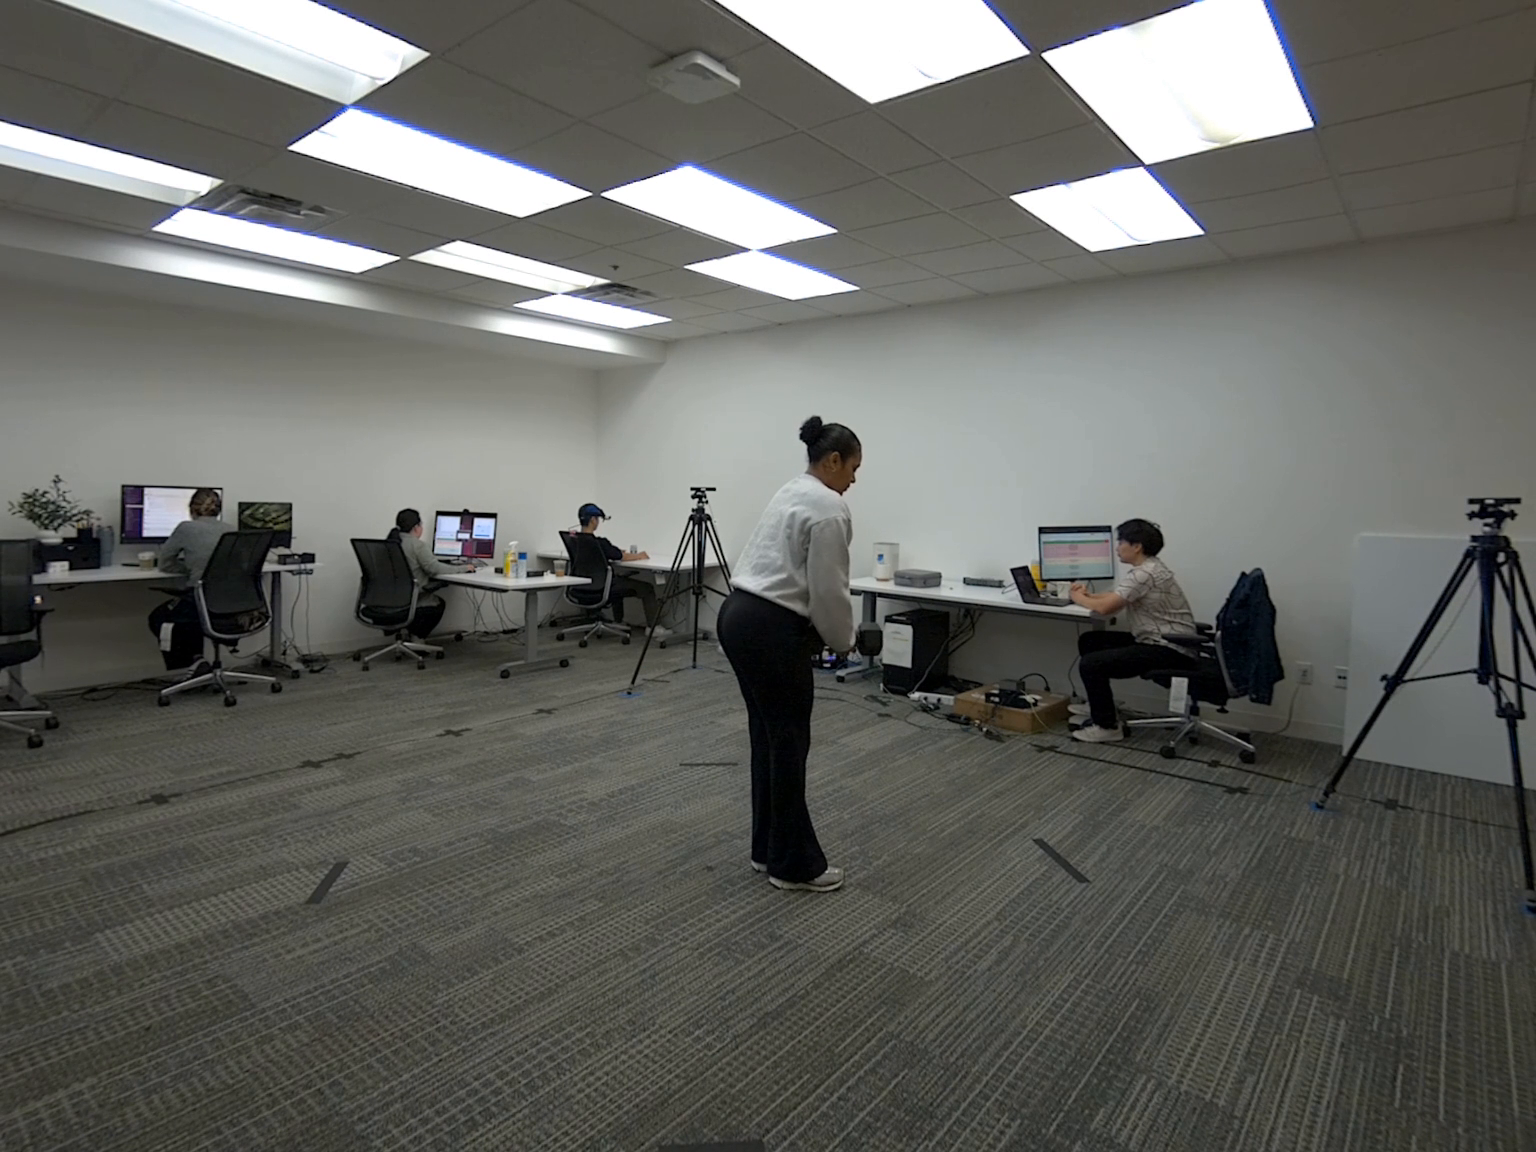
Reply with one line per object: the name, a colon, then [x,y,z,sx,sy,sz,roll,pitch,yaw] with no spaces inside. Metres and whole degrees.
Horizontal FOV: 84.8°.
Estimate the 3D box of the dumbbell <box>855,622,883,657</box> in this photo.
dumbbell: [0.255,0.238,3.106,0.292,0.122,0.110,0,8,-3]
